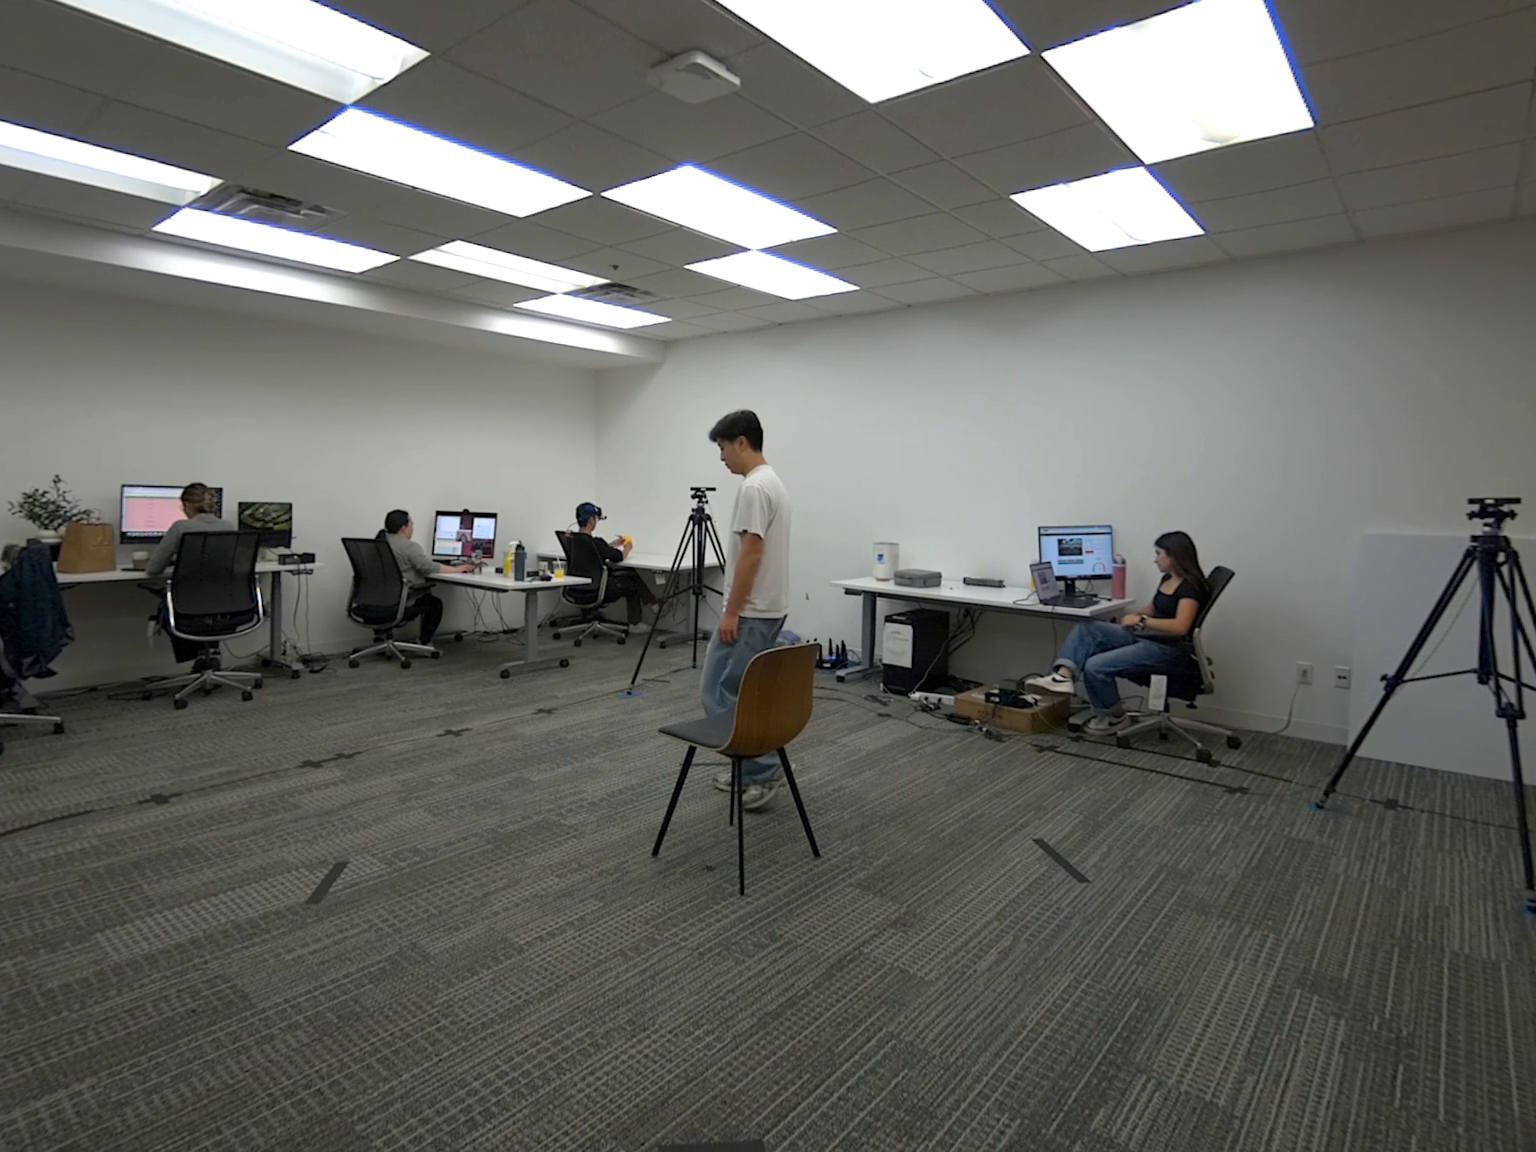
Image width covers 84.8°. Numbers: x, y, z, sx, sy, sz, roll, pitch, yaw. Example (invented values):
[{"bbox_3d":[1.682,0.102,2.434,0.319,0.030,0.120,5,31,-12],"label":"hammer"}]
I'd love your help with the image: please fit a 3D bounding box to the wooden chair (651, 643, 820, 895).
[{"bbox_3d":[-0.124,0.631,3.194,0.542,0.873,0.463,9,8,40],"label":"wooden chair"}]
